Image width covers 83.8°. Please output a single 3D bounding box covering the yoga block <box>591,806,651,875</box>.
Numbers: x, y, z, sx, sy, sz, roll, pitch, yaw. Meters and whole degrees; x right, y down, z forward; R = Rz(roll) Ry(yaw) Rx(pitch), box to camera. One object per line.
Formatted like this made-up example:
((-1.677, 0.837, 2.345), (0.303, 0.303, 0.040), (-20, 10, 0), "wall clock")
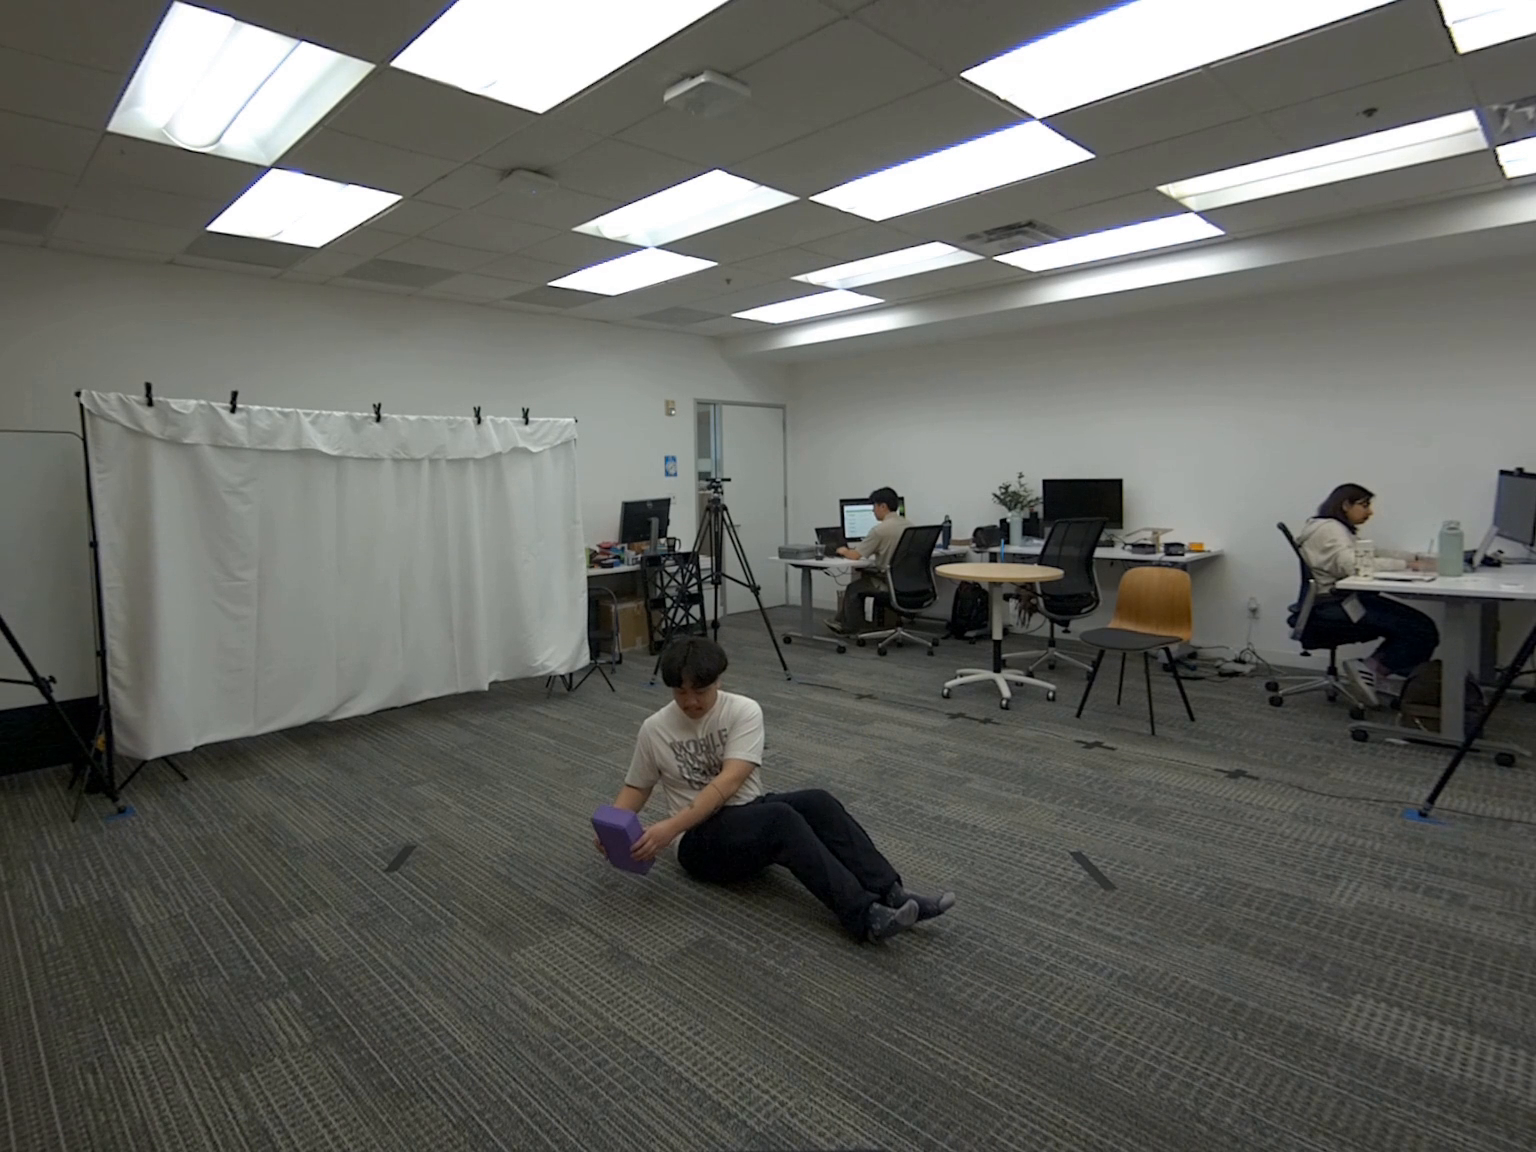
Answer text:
((-0.472, 0.870, 2.785), (0.153, 0.223, 0.076), (1, 31, 32), "yoga block")
